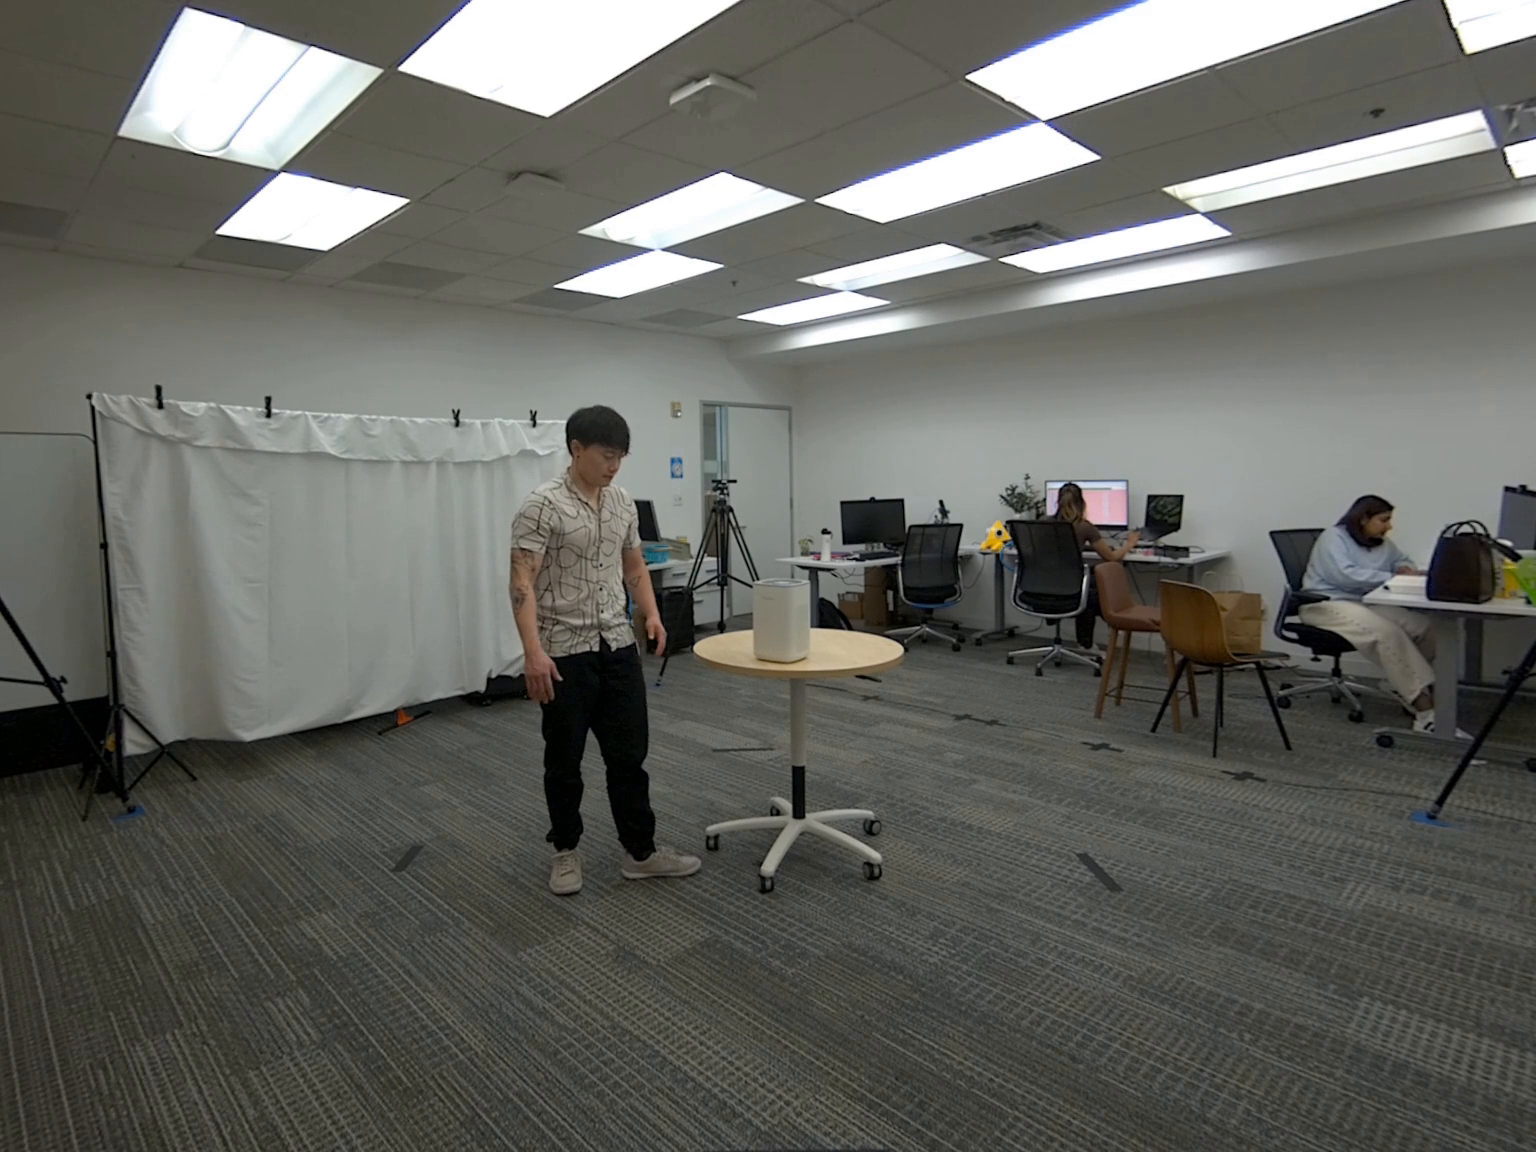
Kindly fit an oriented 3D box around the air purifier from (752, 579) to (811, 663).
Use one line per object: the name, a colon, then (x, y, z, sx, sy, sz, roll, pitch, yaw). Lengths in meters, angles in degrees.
air purifier: (0.041, 0.149, 2.934, 0.176, 0.264, 0.167, 3, 5, 32)
